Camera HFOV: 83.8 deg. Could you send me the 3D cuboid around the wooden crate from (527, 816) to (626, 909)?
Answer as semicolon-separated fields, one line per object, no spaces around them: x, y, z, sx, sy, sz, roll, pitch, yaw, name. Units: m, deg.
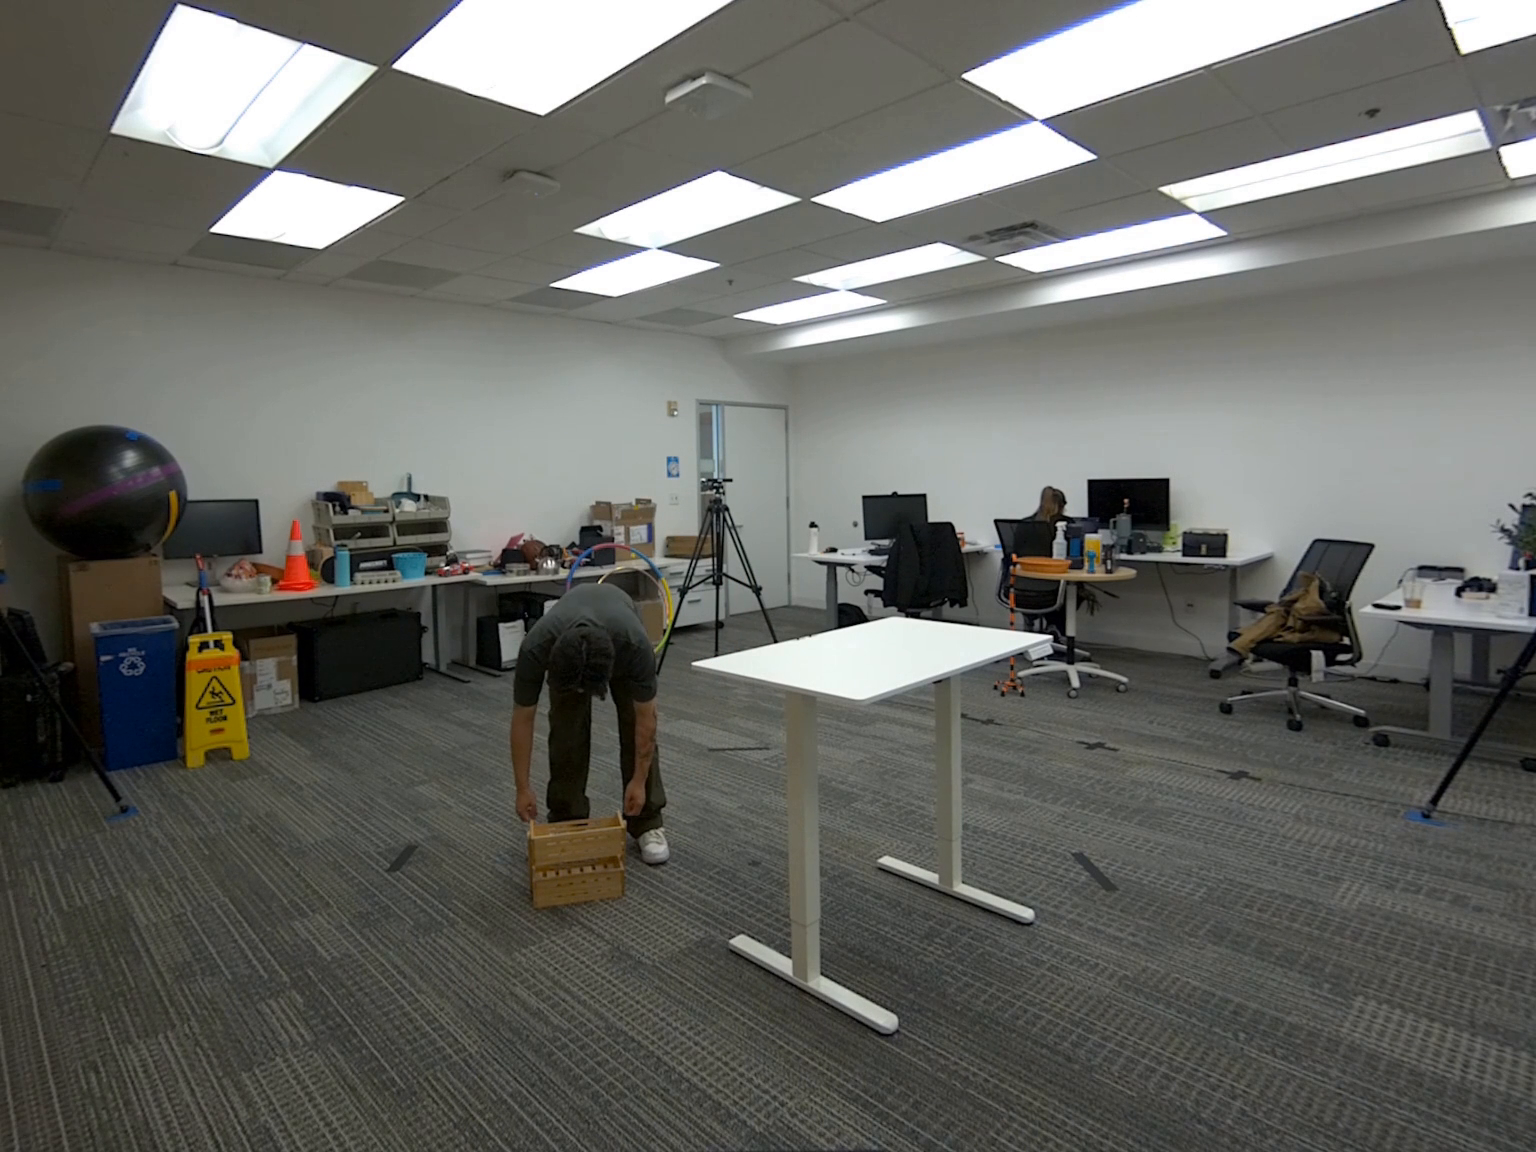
-0.661;0.953;2.932;0.320;0.272;0.307;-3;6;-15;wooden crate
